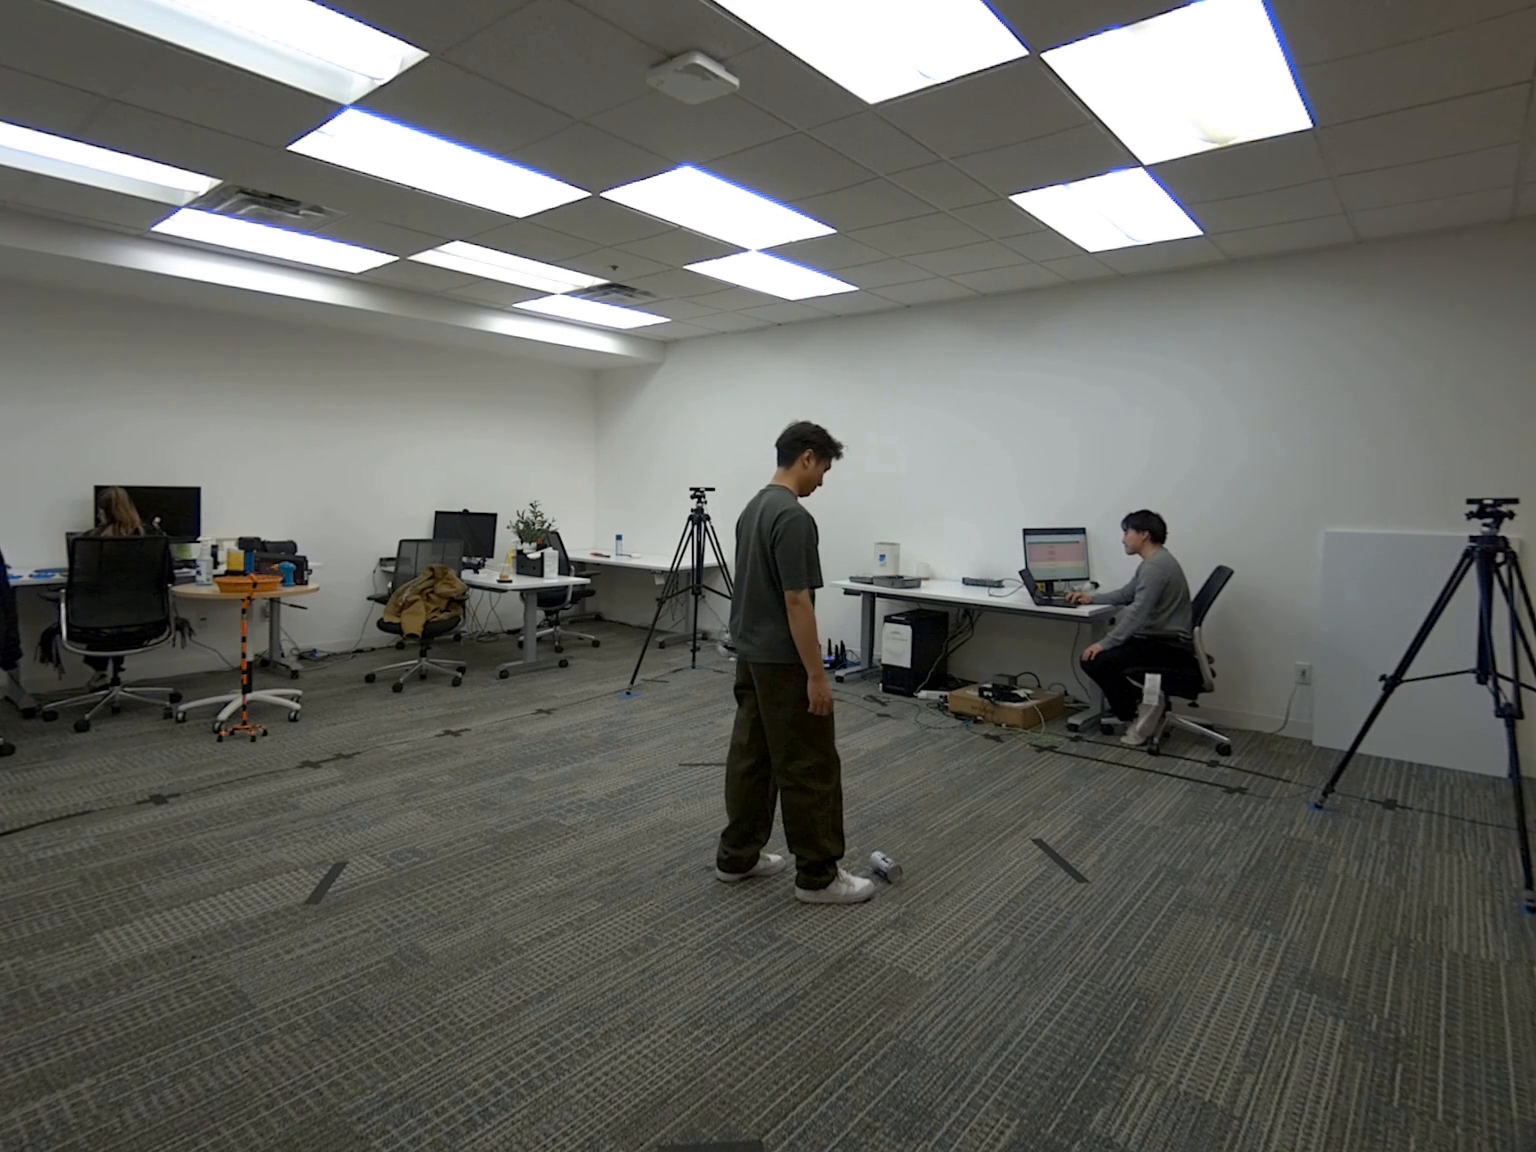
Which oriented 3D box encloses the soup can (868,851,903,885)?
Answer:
[{"bbox_3d":[0.414,1.049,3.075,0.066,0.067,0.124,-1,7,-21],"label":"soup can"}]
